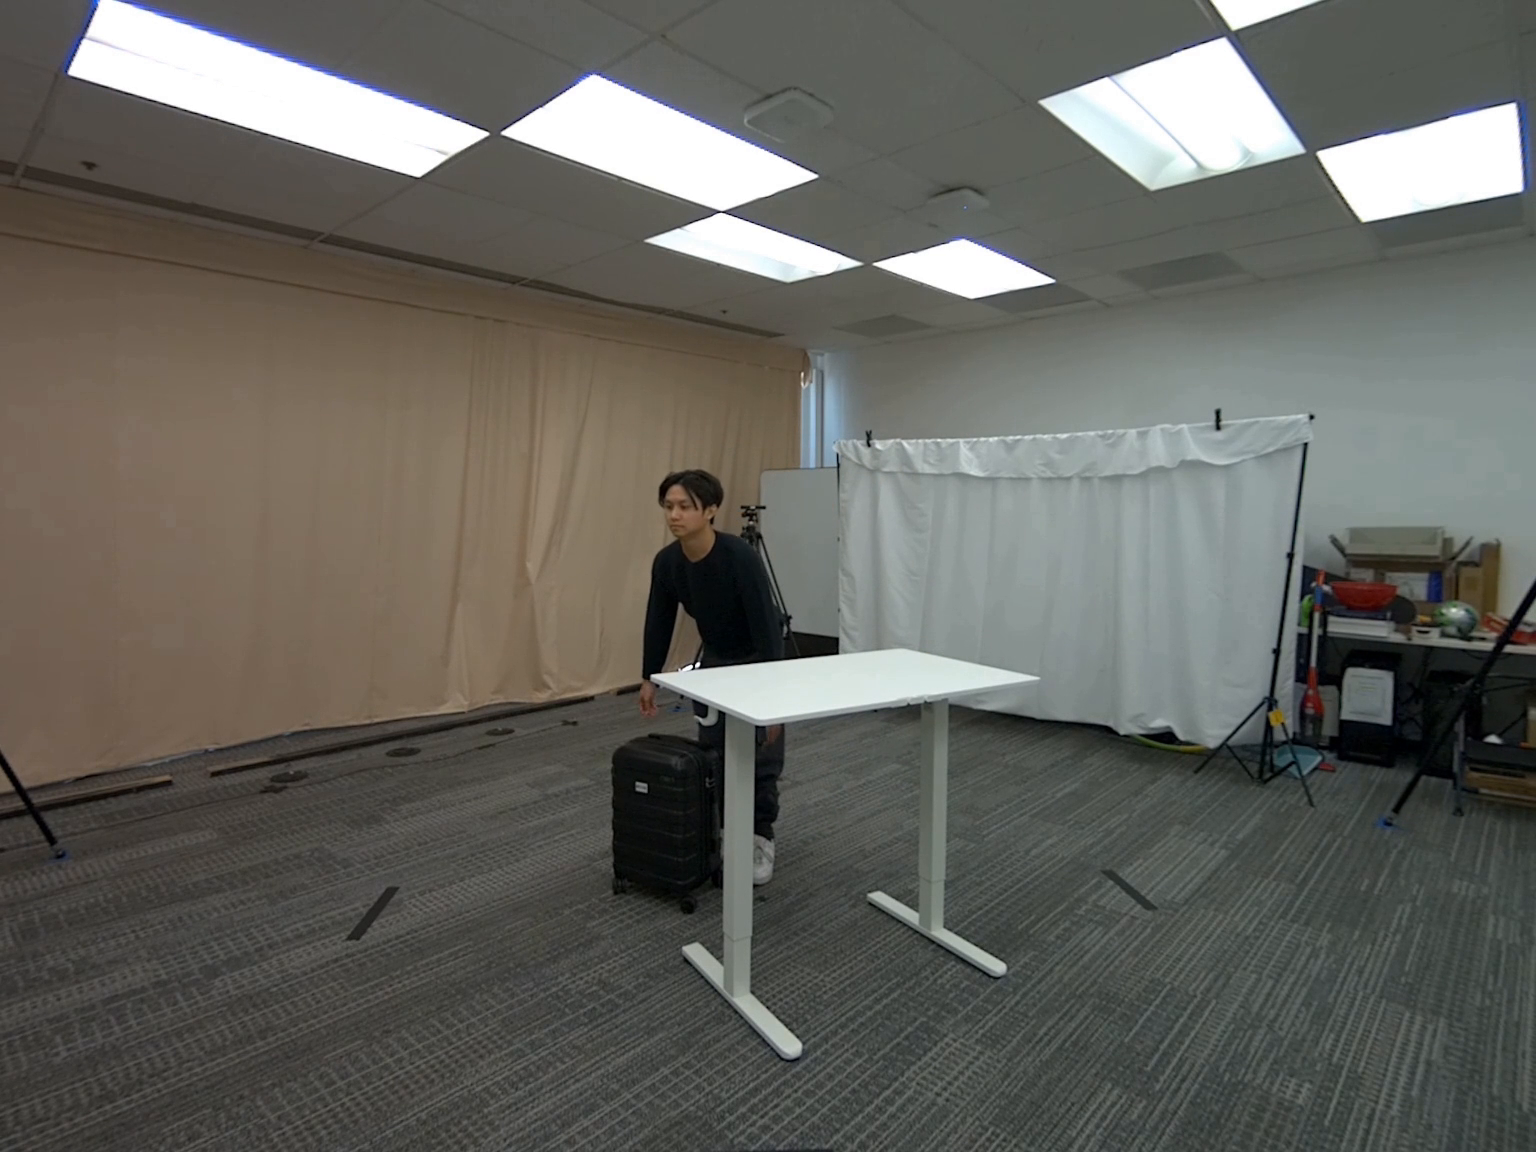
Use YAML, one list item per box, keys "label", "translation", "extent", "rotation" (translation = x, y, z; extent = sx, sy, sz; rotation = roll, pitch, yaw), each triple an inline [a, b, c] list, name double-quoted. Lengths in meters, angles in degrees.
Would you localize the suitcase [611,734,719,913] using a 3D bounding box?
- label: "suitcase"
  translation: [-0.372, 0.863, 3.050]
  extent: [0.387, 0.548, 0.241]
  rotation: [2, 4, 32]
